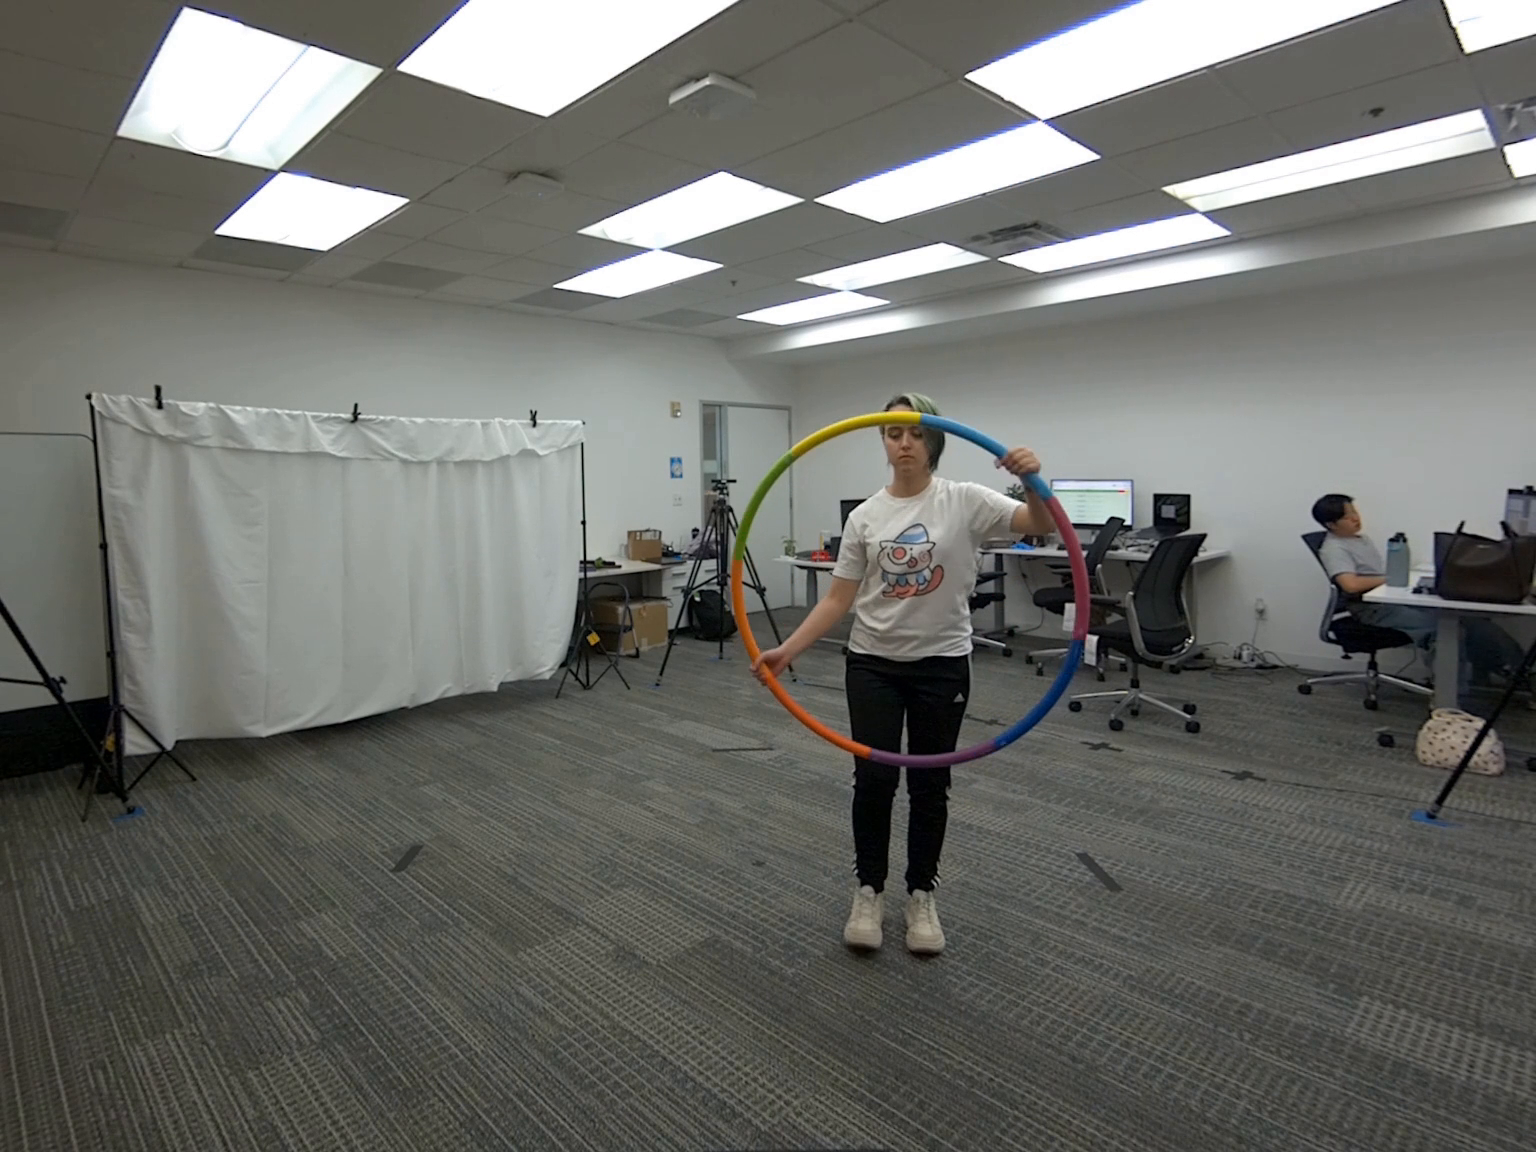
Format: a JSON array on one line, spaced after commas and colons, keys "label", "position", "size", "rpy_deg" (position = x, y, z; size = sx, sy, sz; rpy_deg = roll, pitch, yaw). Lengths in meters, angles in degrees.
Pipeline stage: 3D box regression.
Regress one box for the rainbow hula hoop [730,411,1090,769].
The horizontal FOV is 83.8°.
[{"label": "rainbow hula hoop", "position": [0.338, 0.054, 2.319], "size": [1.003, 0.968, 0.035], "rpy_deg": [2, 12, 28]}]
